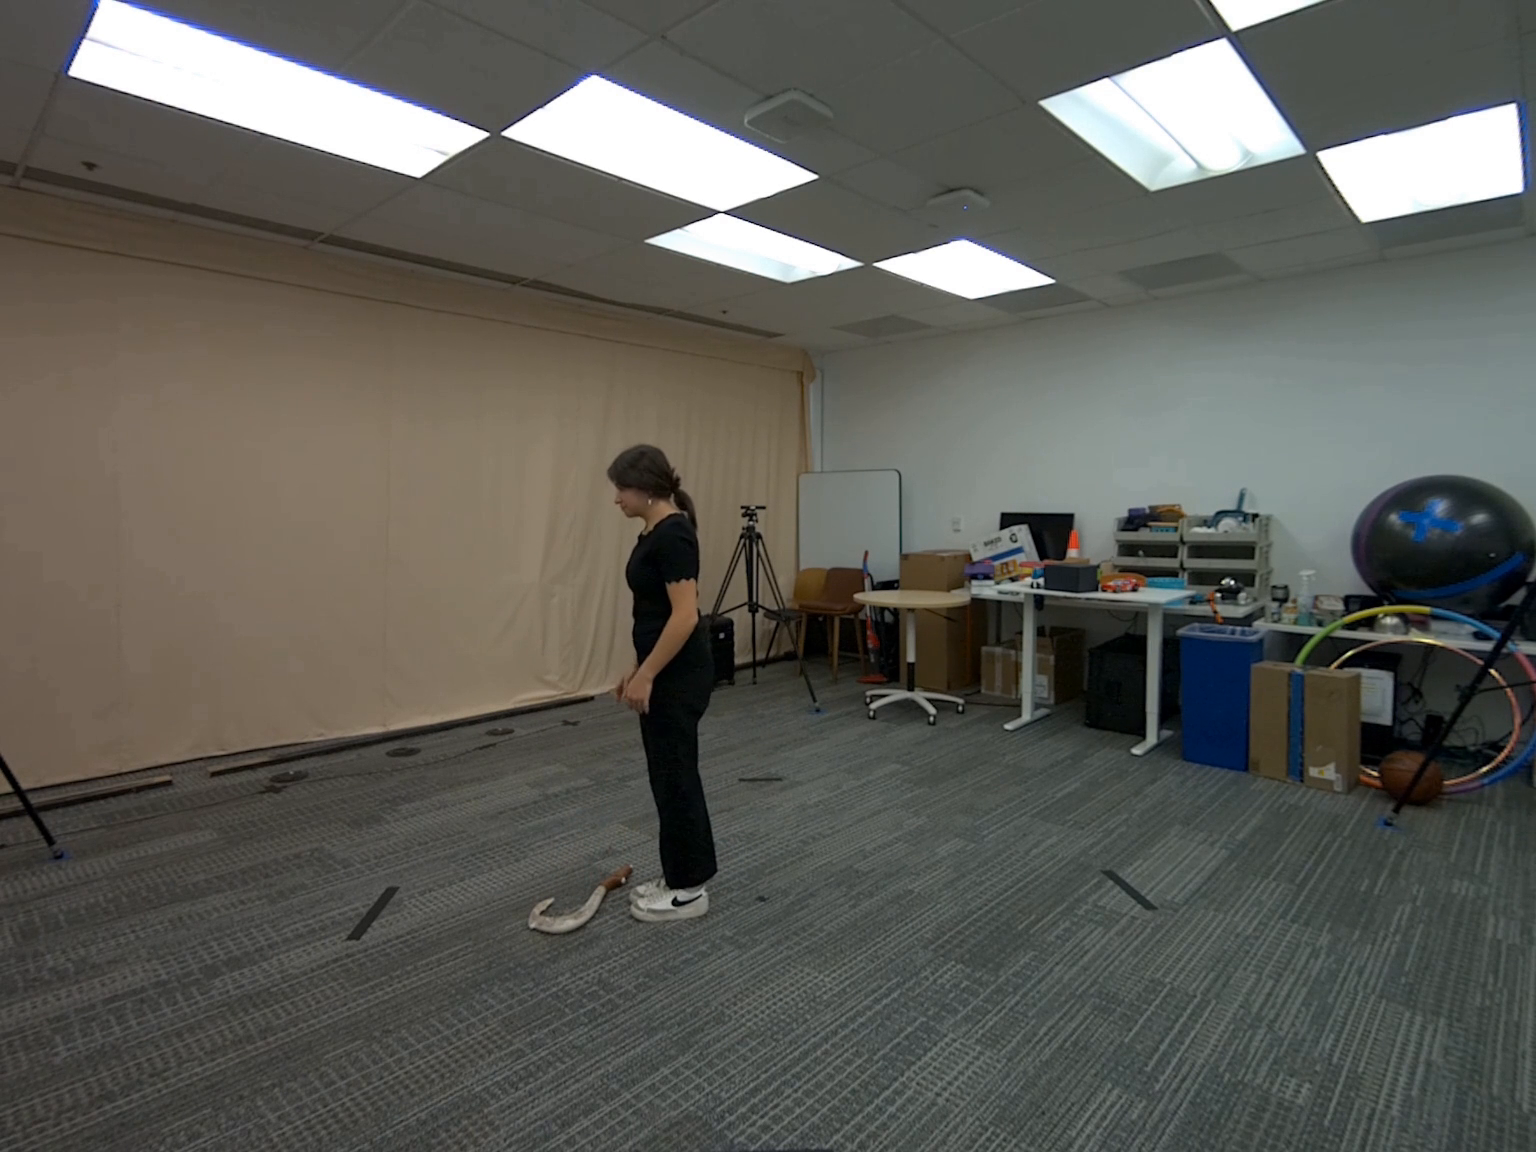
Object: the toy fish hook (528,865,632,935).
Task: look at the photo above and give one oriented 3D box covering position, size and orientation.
[{"bbox_3d":[-0.655,1.126,2.978,0.230,0.048,0.496,3,5,21],"label":"toy fish hook"}]
